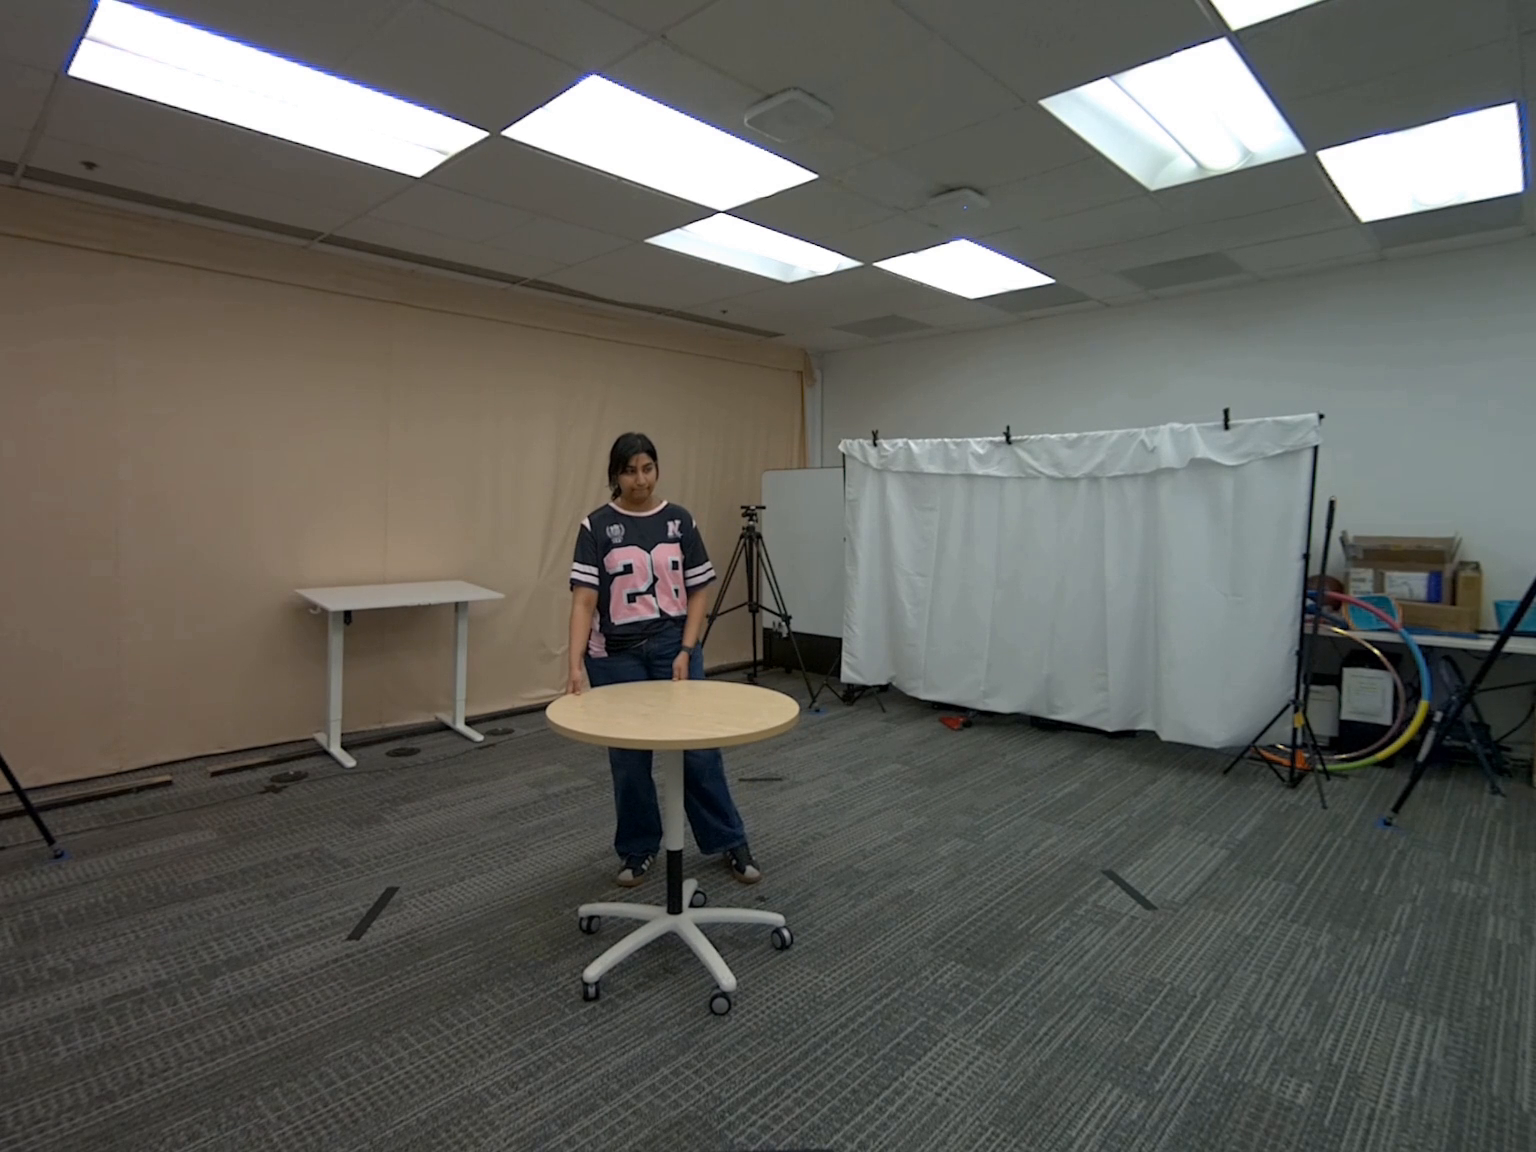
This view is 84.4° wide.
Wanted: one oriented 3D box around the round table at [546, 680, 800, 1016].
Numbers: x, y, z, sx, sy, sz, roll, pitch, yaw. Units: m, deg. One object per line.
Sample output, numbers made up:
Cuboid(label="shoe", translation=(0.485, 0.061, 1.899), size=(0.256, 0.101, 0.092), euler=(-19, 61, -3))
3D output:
Cuboid(label="round table", translation=(-0.285, 0.789, 2.587), size=(0.763, 0.792, 0.767), euler=(0, 4, -2))
